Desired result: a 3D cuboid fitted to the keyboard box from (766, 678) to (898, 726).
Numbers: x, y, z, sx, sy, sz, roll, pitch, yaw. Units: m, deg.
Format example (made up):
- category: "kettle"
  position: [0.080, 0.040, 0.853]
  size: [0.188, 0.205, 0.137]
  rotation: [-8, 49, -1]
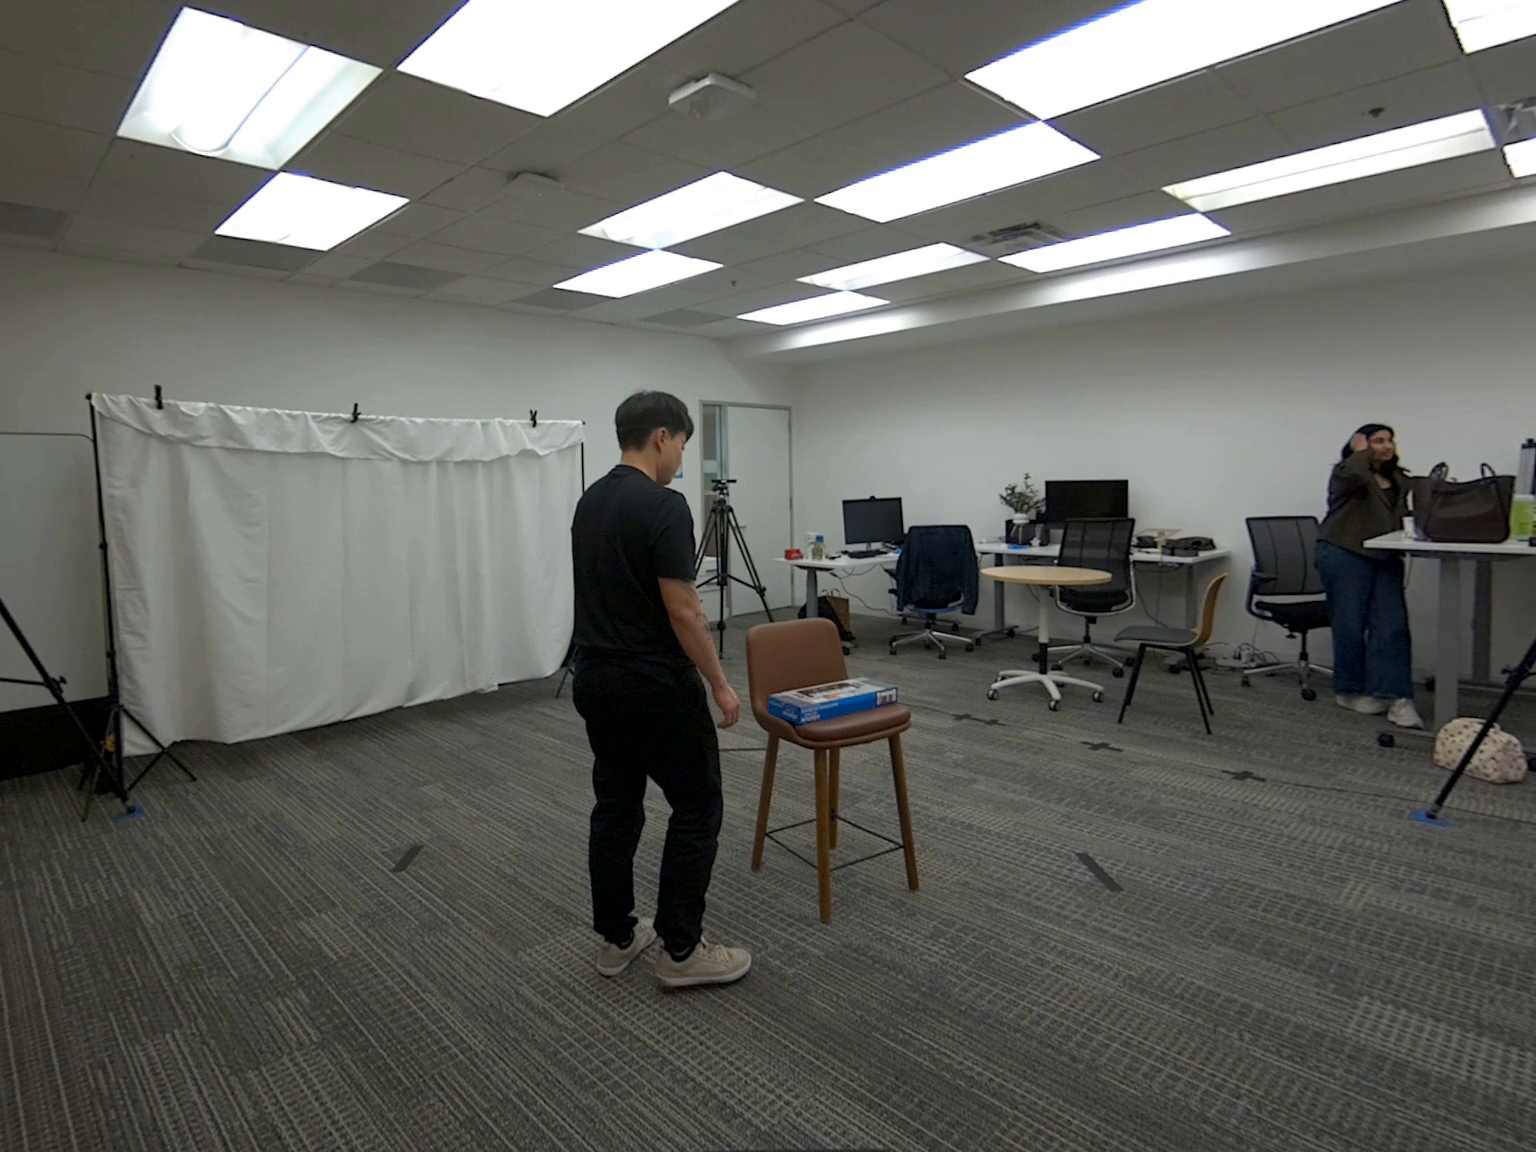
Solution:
- category: "keyboard box"
  position: [0.228, 0.423, 2.905]
  size: [0.426, 0.059, 0.181]
  rotation: [-5, 8, -34]
